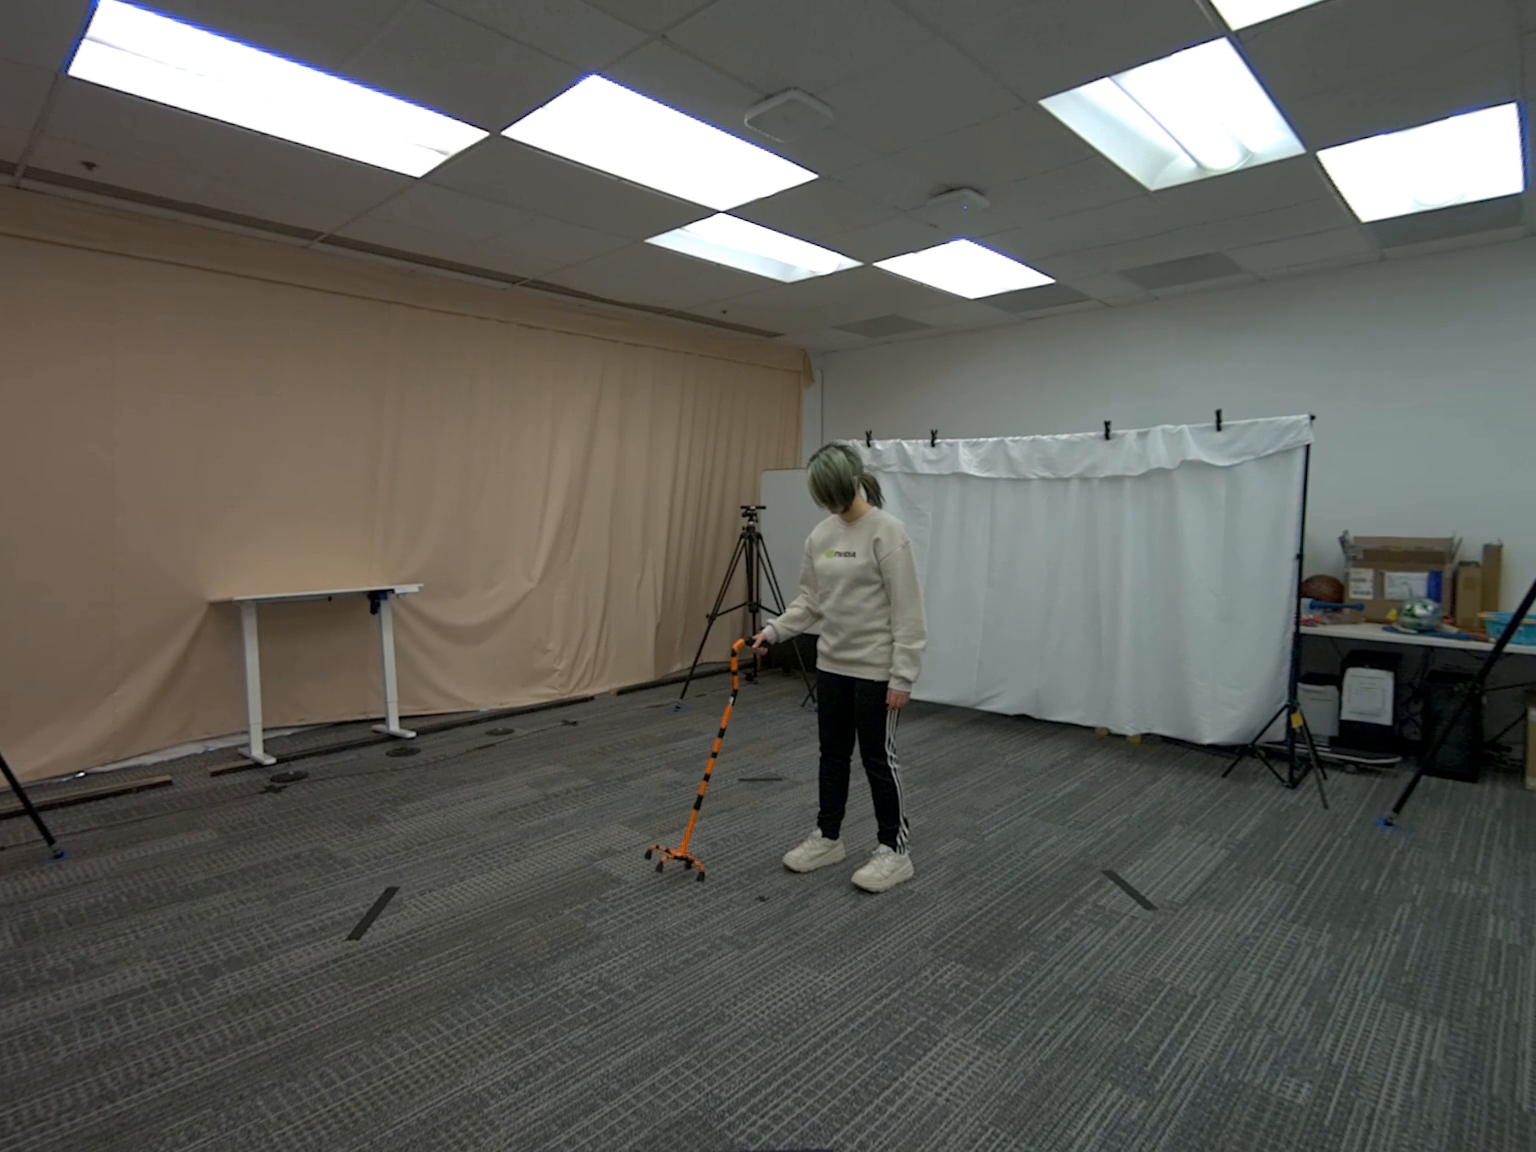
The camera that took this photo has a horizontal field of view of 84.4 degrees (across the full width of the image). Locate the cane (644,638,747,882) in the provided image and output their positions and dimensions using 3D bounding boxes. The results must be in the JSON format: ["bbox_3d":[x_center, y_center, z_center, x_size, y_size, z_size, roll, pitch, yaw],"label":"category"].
[{"bbox_3d":[-0.208,0.673,3.190,0.201,0.909,0.156,20,-5,-26],"label":"cane"}]
